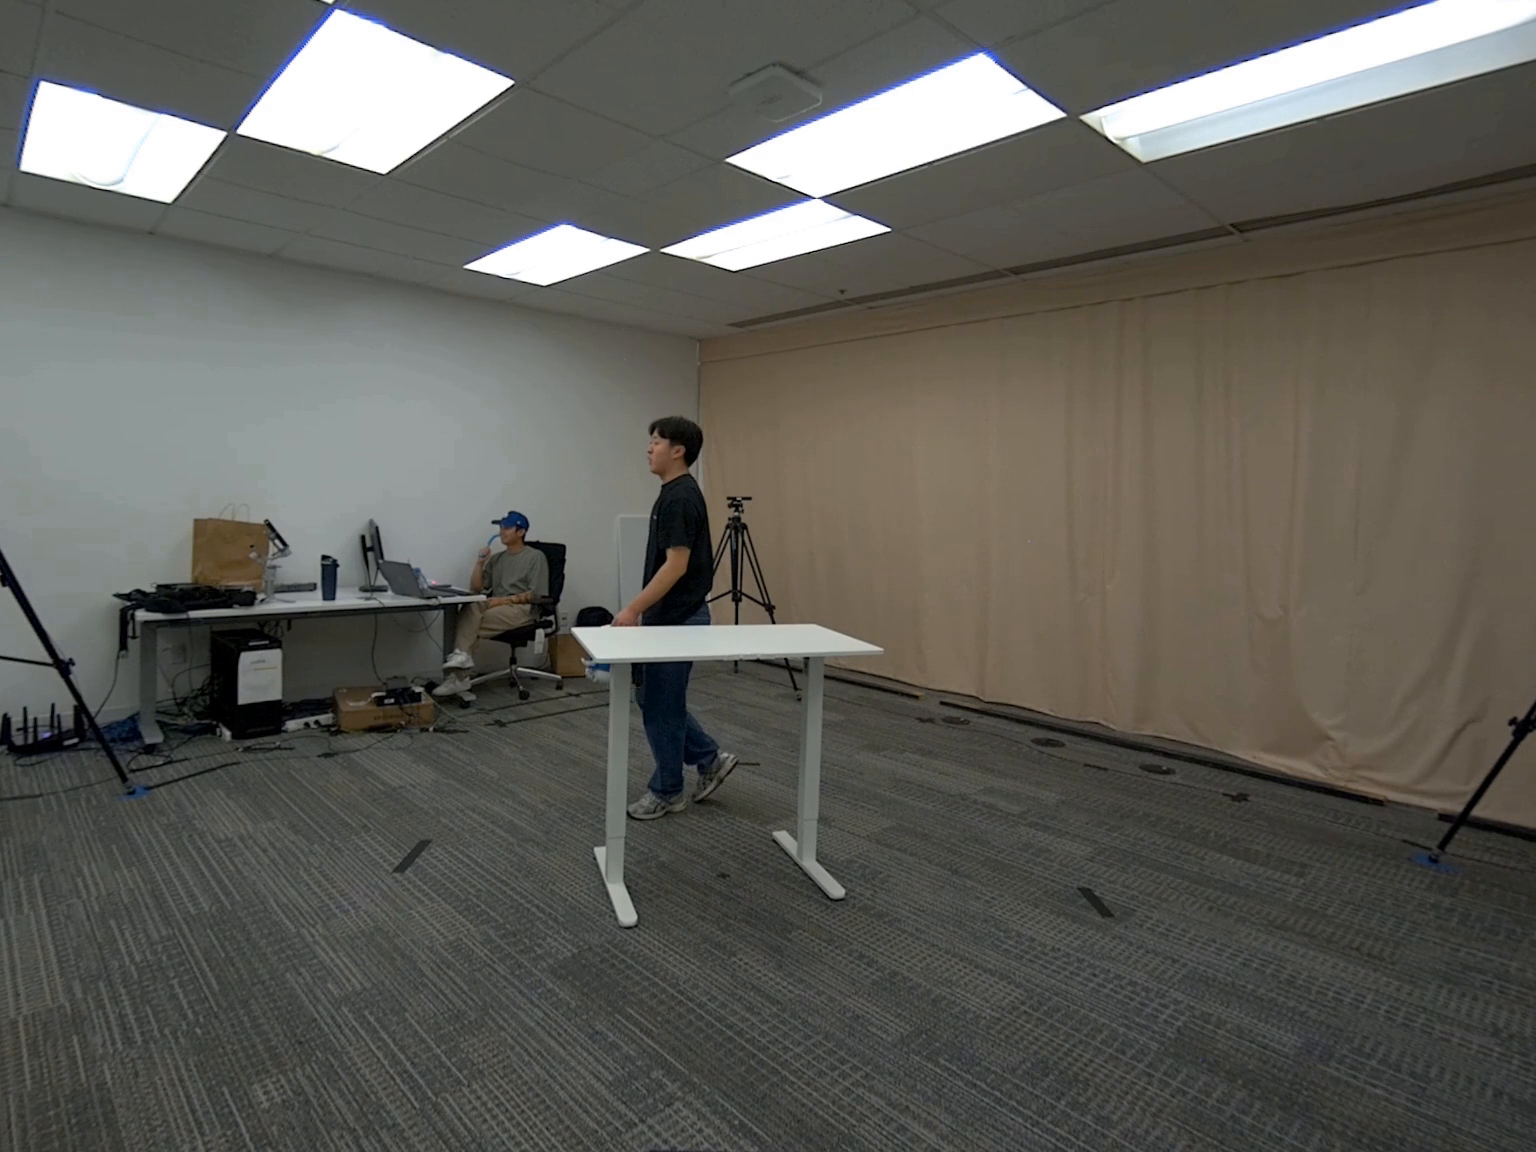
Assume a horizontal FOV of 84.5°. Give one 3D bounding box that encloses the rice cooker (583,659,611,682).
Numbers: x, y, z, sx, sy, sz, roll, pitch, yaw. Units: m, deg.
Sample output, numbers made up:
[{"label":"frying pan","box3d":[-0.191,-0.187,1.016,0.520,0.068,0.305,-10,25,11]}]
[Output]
[{"label":"rice cooker","box3d":[-0.636,0.321,3.482,0.219,0.232,0.219,13,4,-7]}]
